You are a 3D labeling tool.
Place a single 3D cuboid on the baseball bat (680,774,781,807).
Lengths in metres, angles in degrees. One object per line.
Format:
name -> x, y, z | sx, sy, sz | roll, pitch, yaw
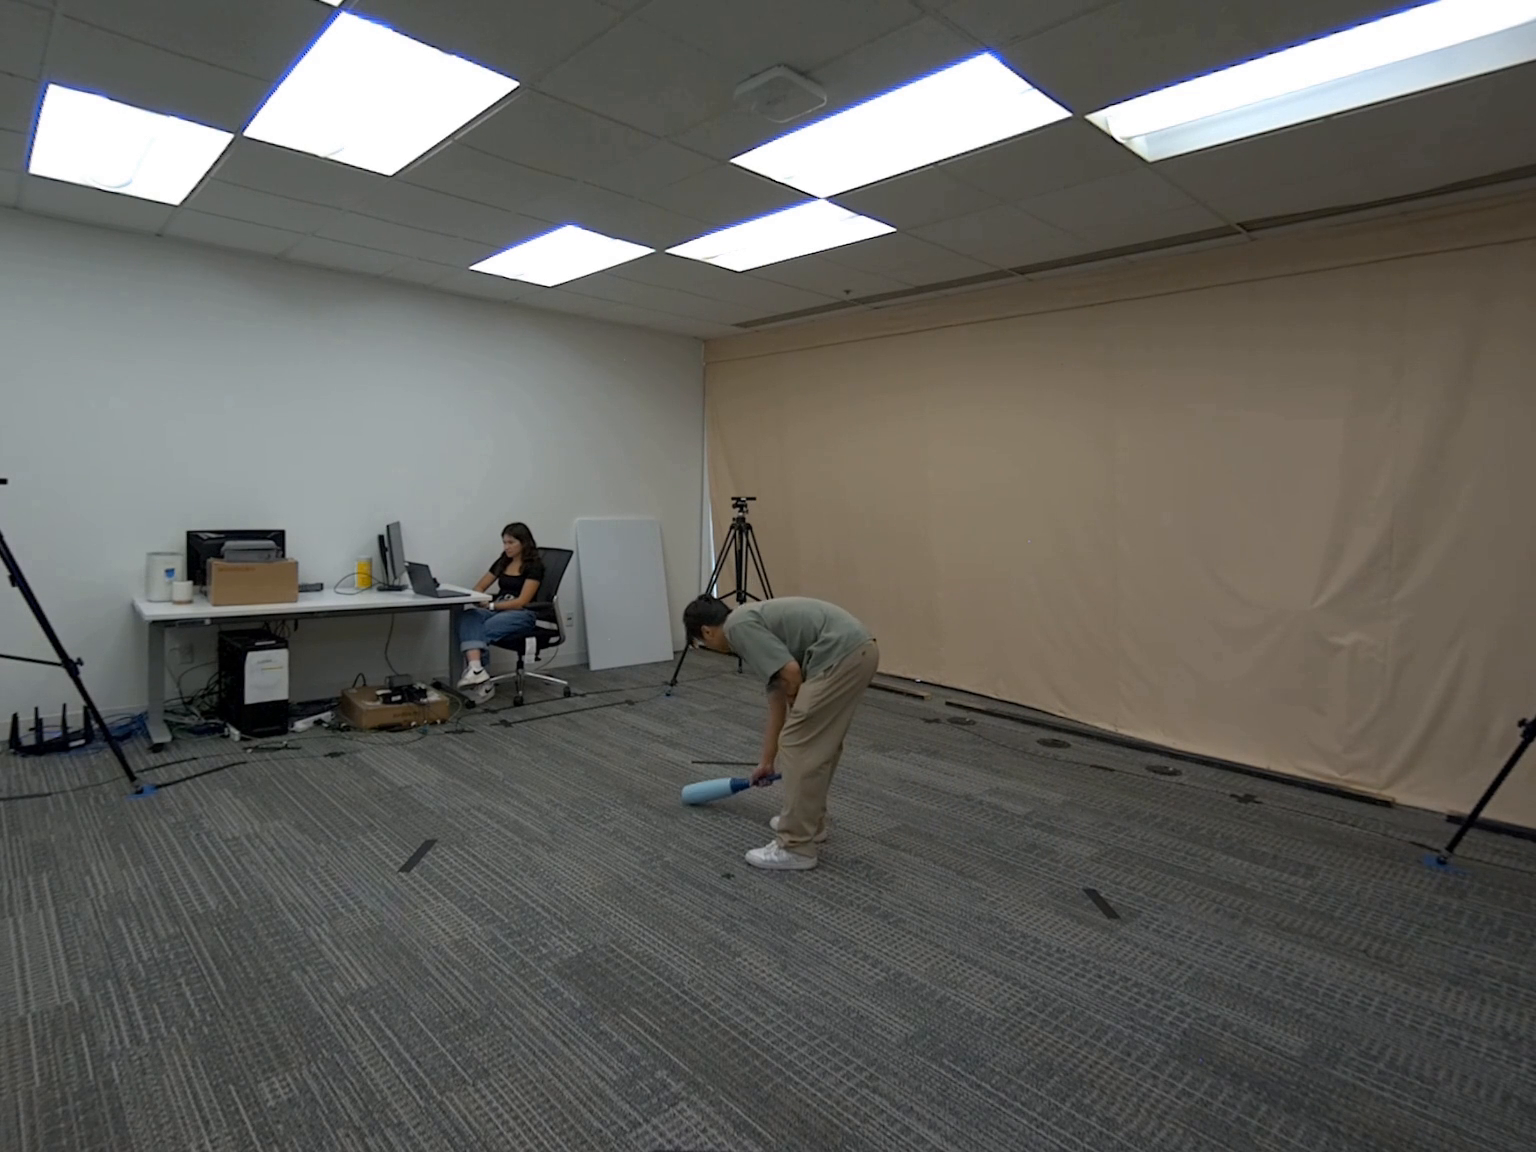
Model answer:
baseball bat -> -0.139, 0.927, 3.733 | 0.549, 0.089, 0.088 | -17, -3, 22
